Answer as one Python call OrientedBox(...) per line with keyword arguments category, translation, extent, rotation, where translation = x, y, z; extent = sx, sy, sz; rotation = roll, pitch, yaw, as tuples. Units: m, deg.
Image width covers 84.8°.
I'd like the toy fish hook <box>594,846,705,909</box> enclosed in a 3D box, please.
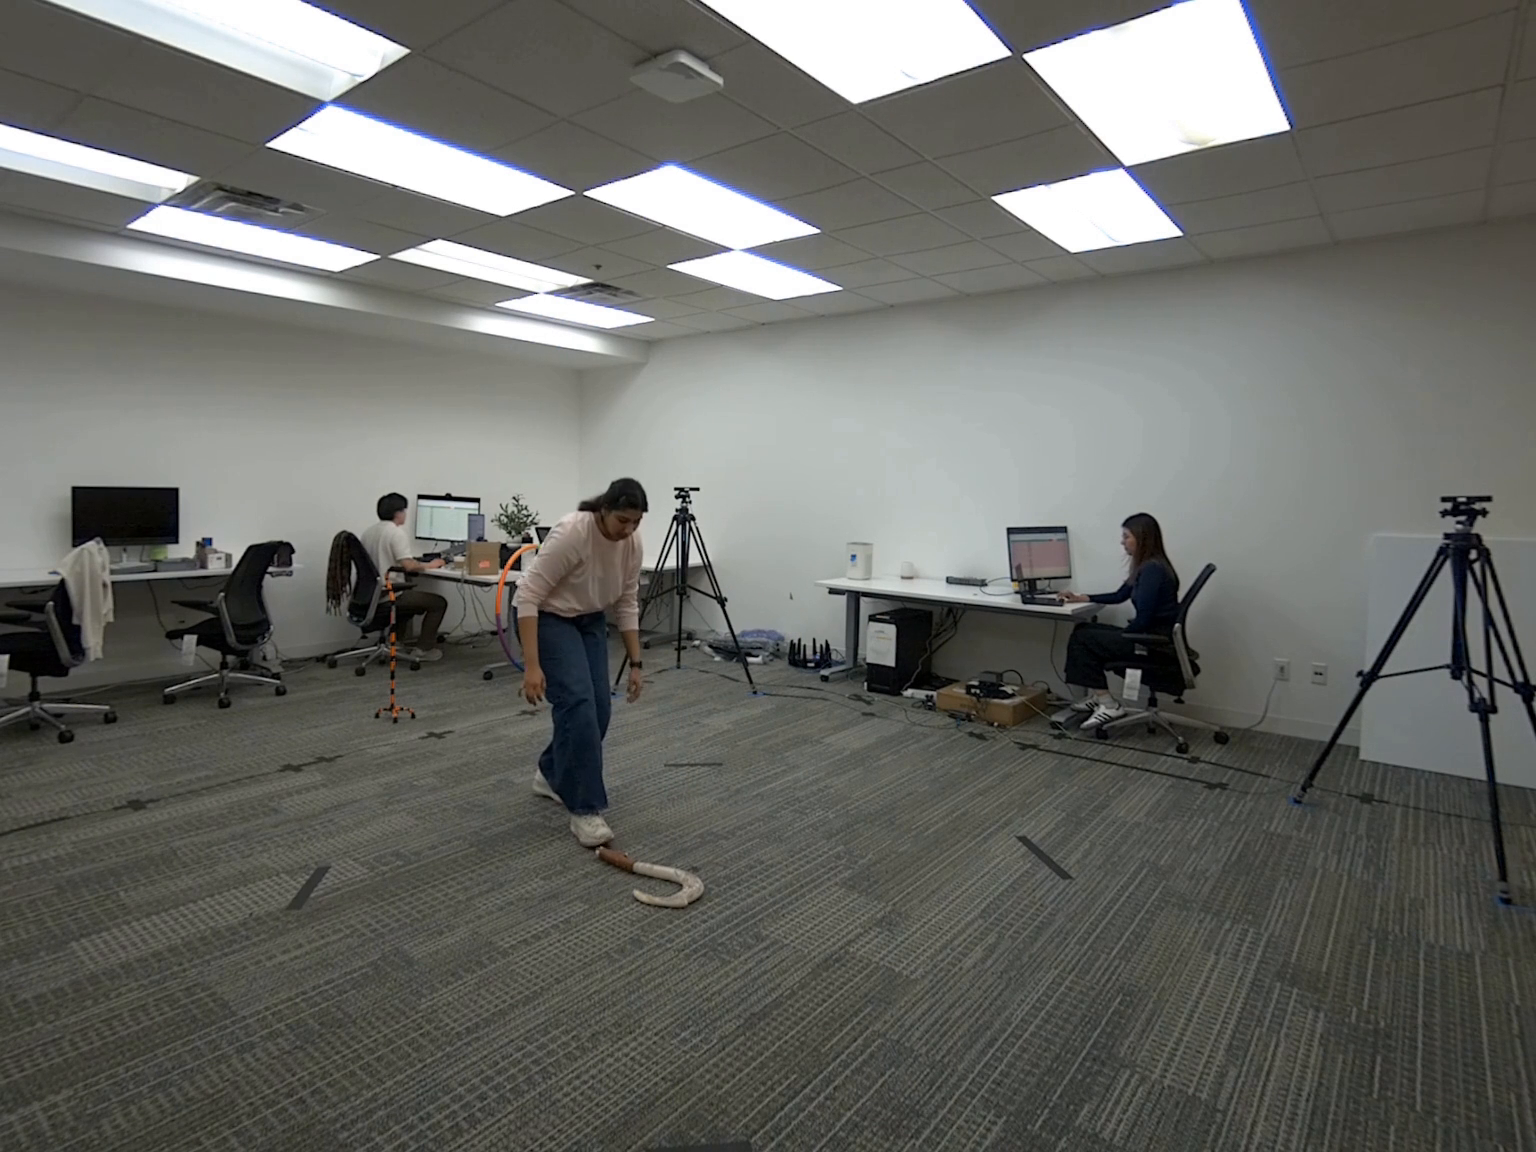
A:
OrientedBox(category="toy fish hook", translation=(-0.466, 1.052, 2.986), extent=(0.523, 0.048, 0.218), rotation=(4, 5, 35))
